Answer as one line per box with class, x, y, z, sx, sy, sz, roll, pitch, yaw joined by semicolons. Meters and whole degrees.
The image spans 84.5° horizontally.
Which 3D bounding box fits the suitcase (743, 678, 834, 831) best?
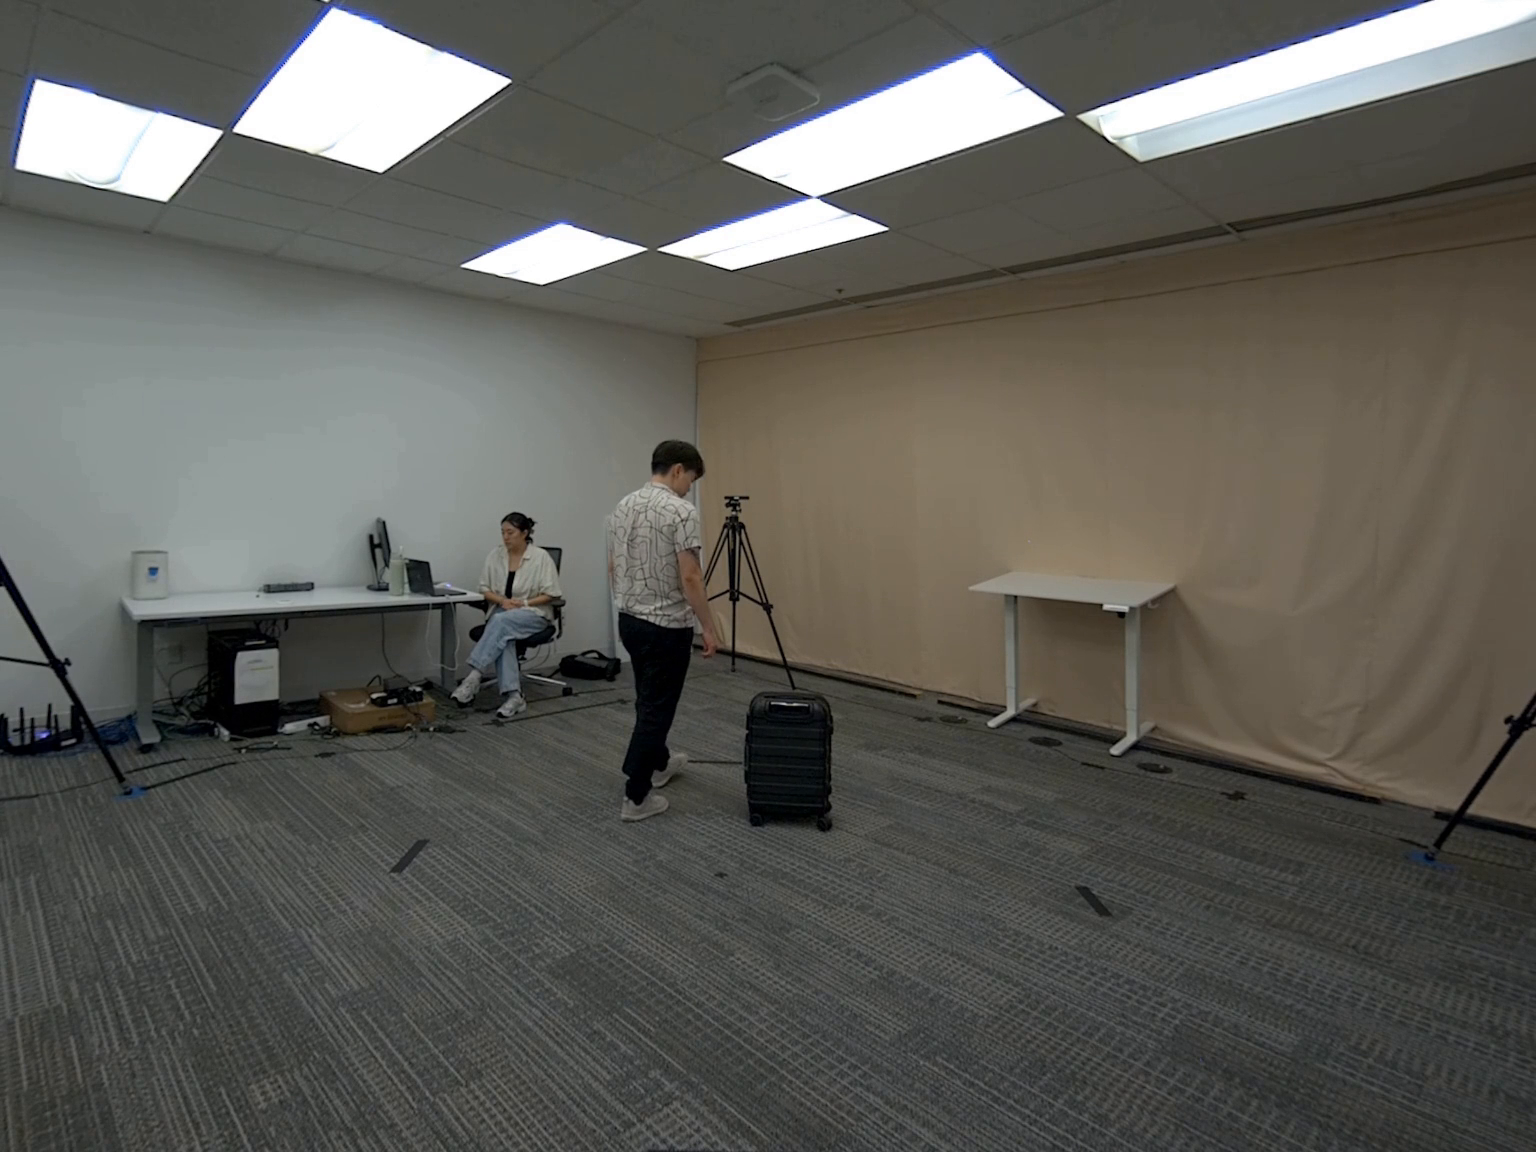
suitcase;0.082;0.785;3.675;0.377;0.548;0.247;1;3;5
